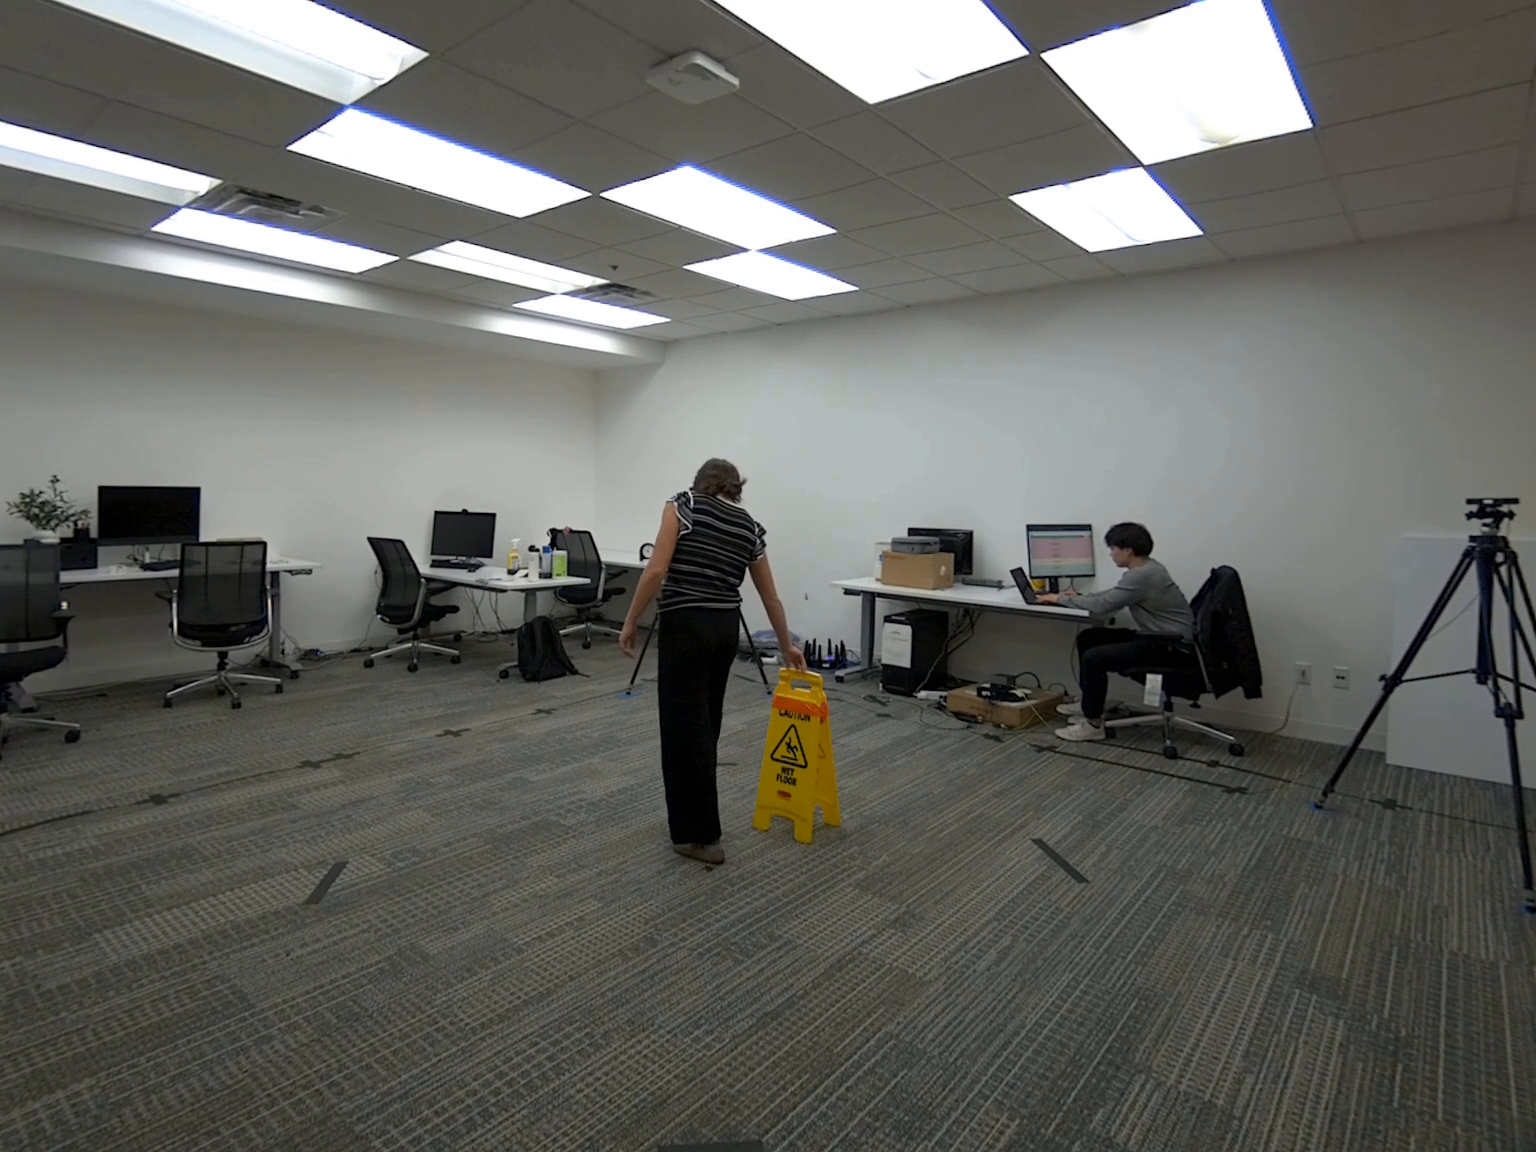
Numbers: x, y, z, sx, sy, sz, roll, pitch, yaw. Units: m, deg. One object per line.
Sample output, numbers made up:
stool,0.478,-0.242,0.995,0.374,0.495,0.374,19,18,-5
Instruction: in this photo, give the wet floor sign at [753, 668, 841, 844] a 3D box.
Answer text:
wet floor sign,0.115,0.710,3.508,0.291,0.645,0.281,3,2,36
